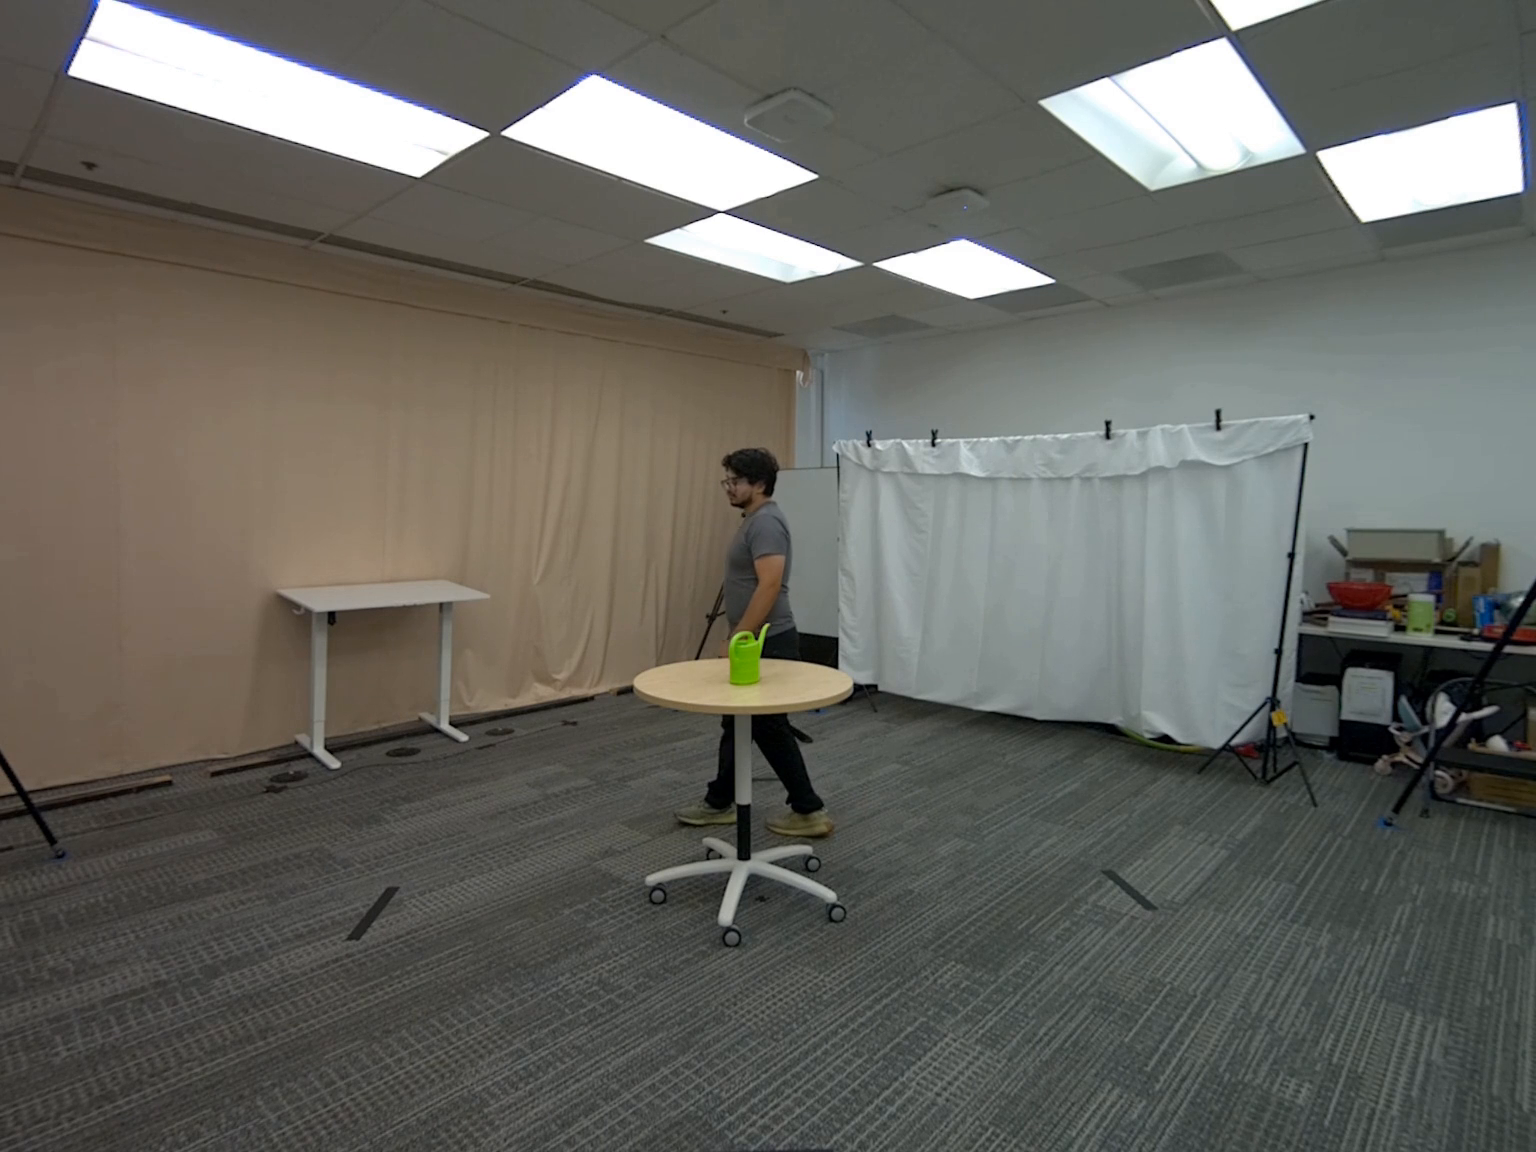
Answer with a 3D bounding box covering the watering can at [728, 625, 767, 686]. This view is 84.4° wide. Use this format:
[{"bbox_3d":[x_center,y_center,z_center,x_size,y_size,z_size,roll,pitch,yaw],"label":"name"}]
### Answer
[{"bbox_3d":[-0.047,0.276,2.947,0.101,0.176,0.270,6,8,41],"label":"watering can"}]
